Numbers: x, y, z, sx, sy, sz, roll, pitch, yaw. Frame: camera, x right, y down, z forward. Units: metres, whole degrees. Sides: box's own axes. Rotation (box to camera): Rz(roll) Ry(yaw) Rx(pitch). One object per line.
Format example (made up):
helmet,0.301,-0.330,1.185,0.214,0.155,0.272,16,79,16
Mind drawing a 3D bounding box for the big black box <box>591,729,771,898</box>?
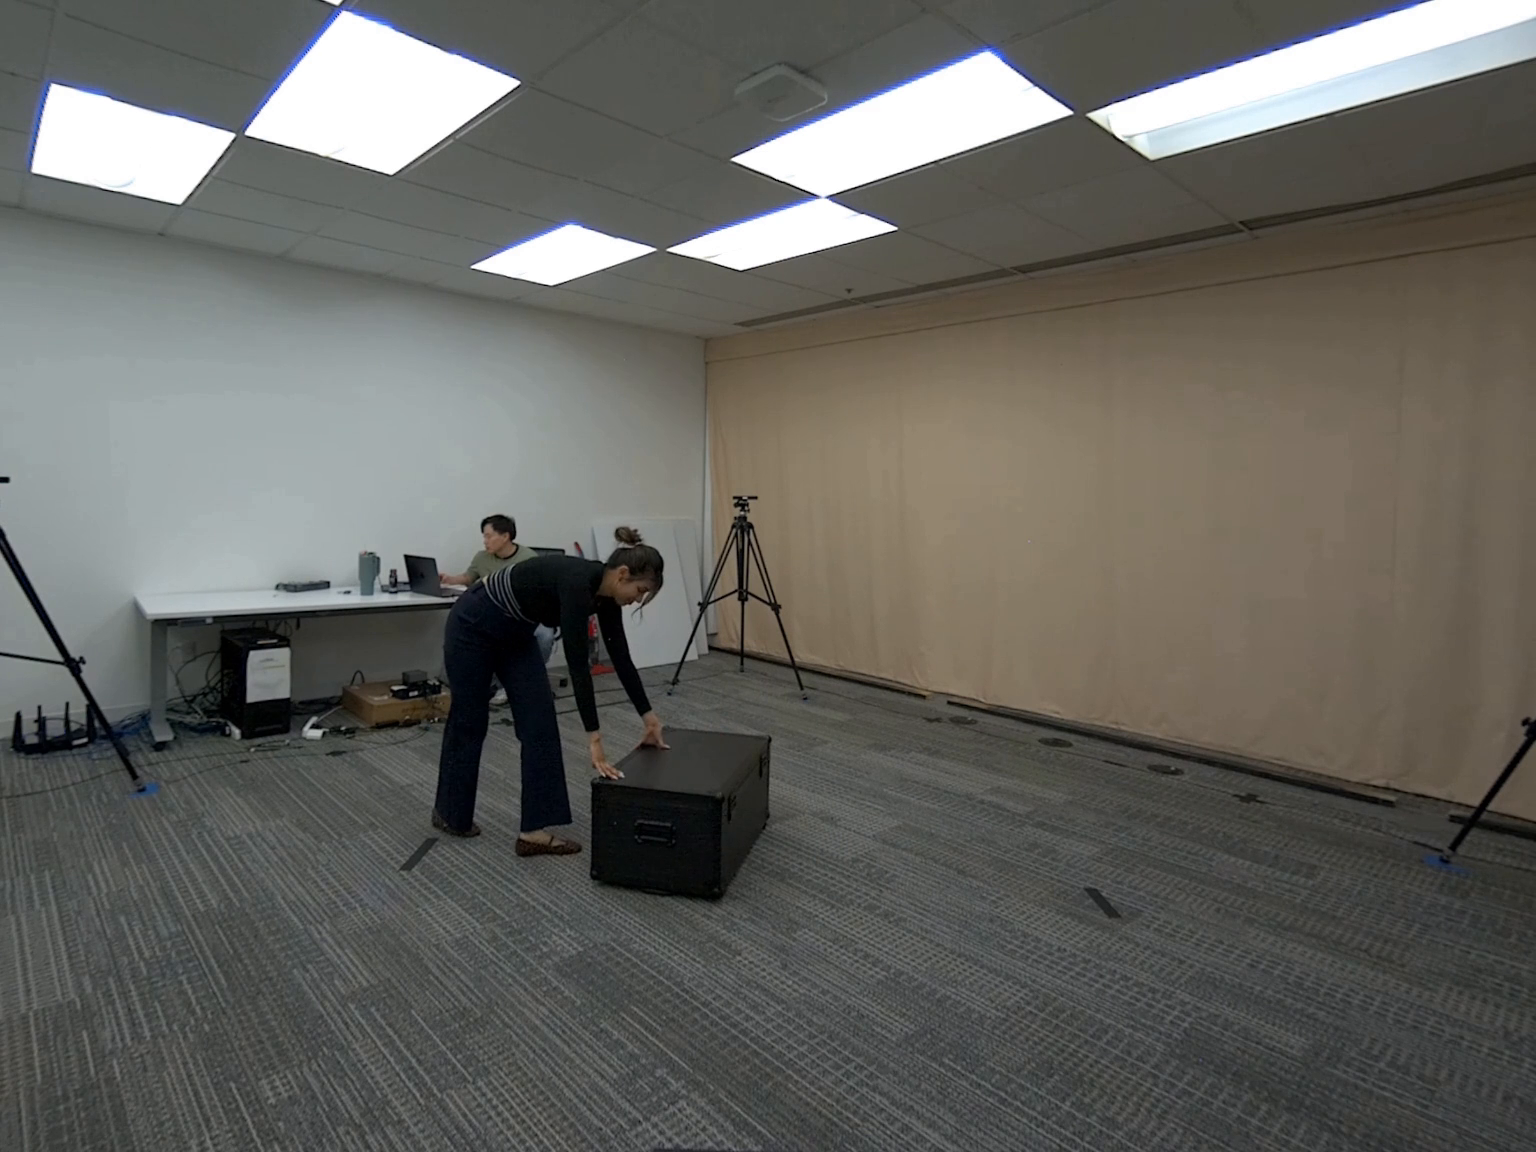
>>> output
big black box,-0.301,0.887,3.320,0.527,0.395,0.854,2,5,13
